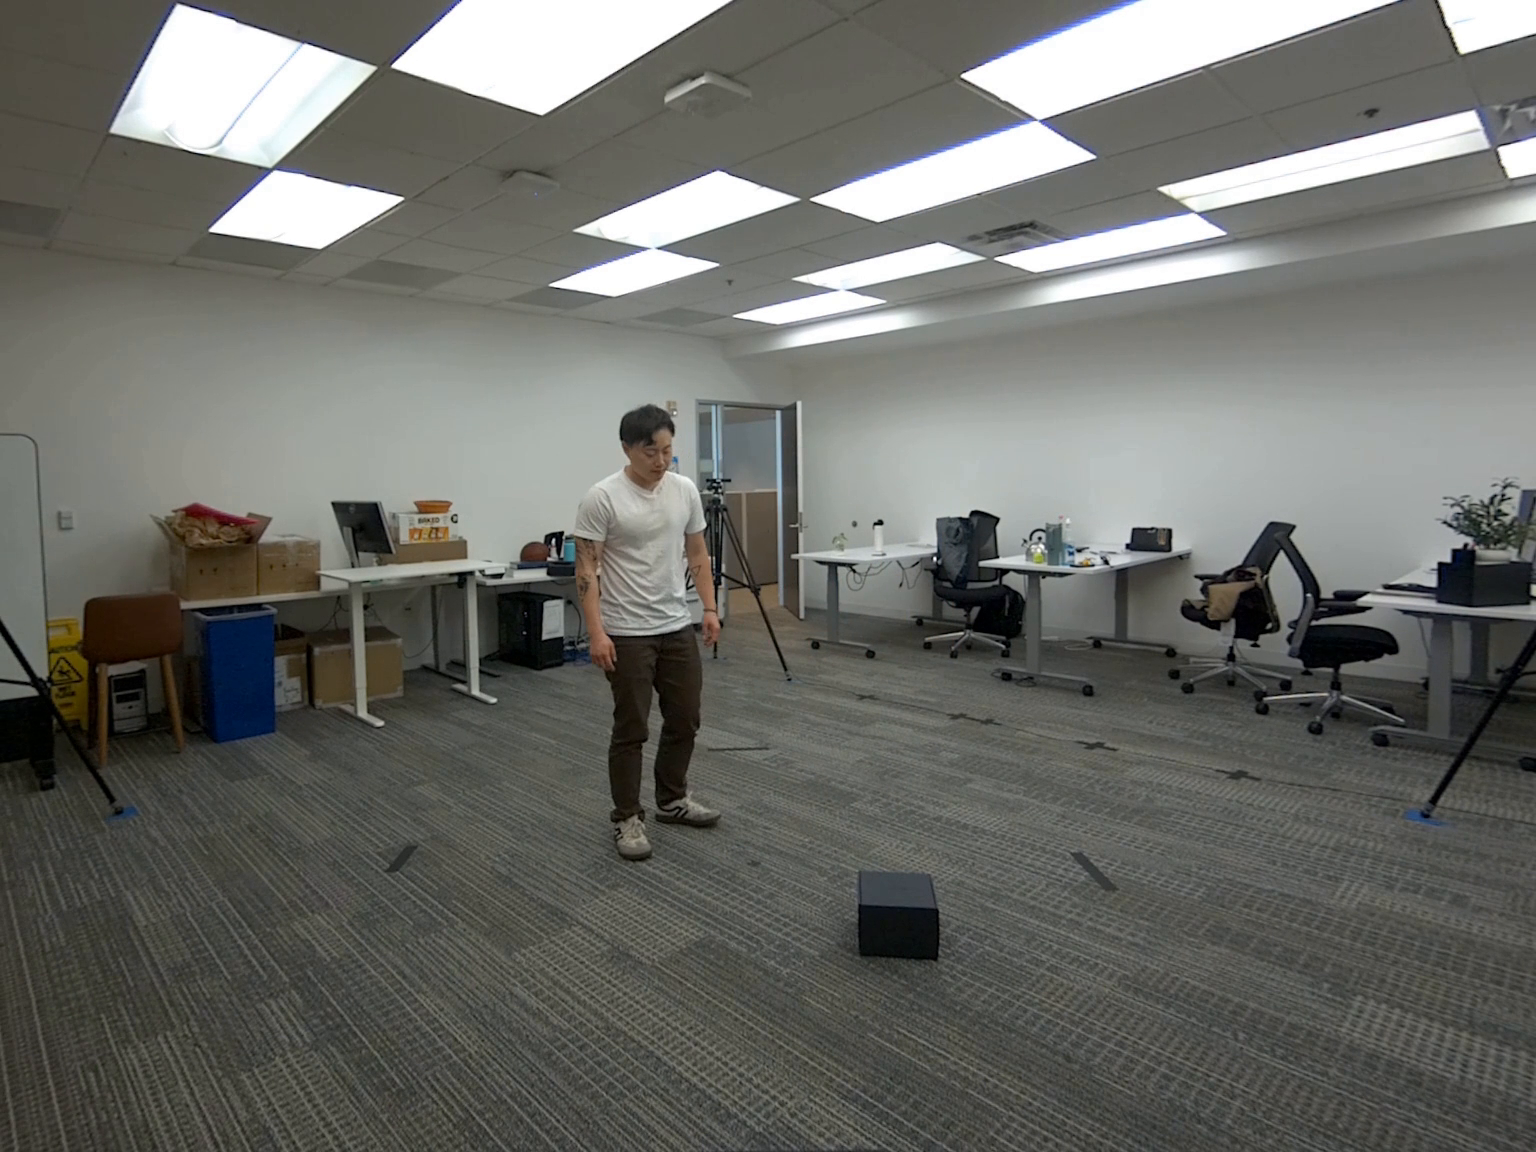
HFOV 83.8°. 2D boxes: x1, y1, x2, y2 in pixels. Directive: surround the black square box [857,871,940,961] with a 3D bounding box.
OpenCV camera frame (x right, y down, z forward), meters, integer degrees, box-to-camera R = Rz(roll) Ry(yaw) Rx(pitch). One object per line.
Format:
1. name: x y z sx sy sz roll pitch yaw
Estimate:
1. black square box: 0.391 1.012 2.576 0.229 0.155 0.216 -1 5 7
